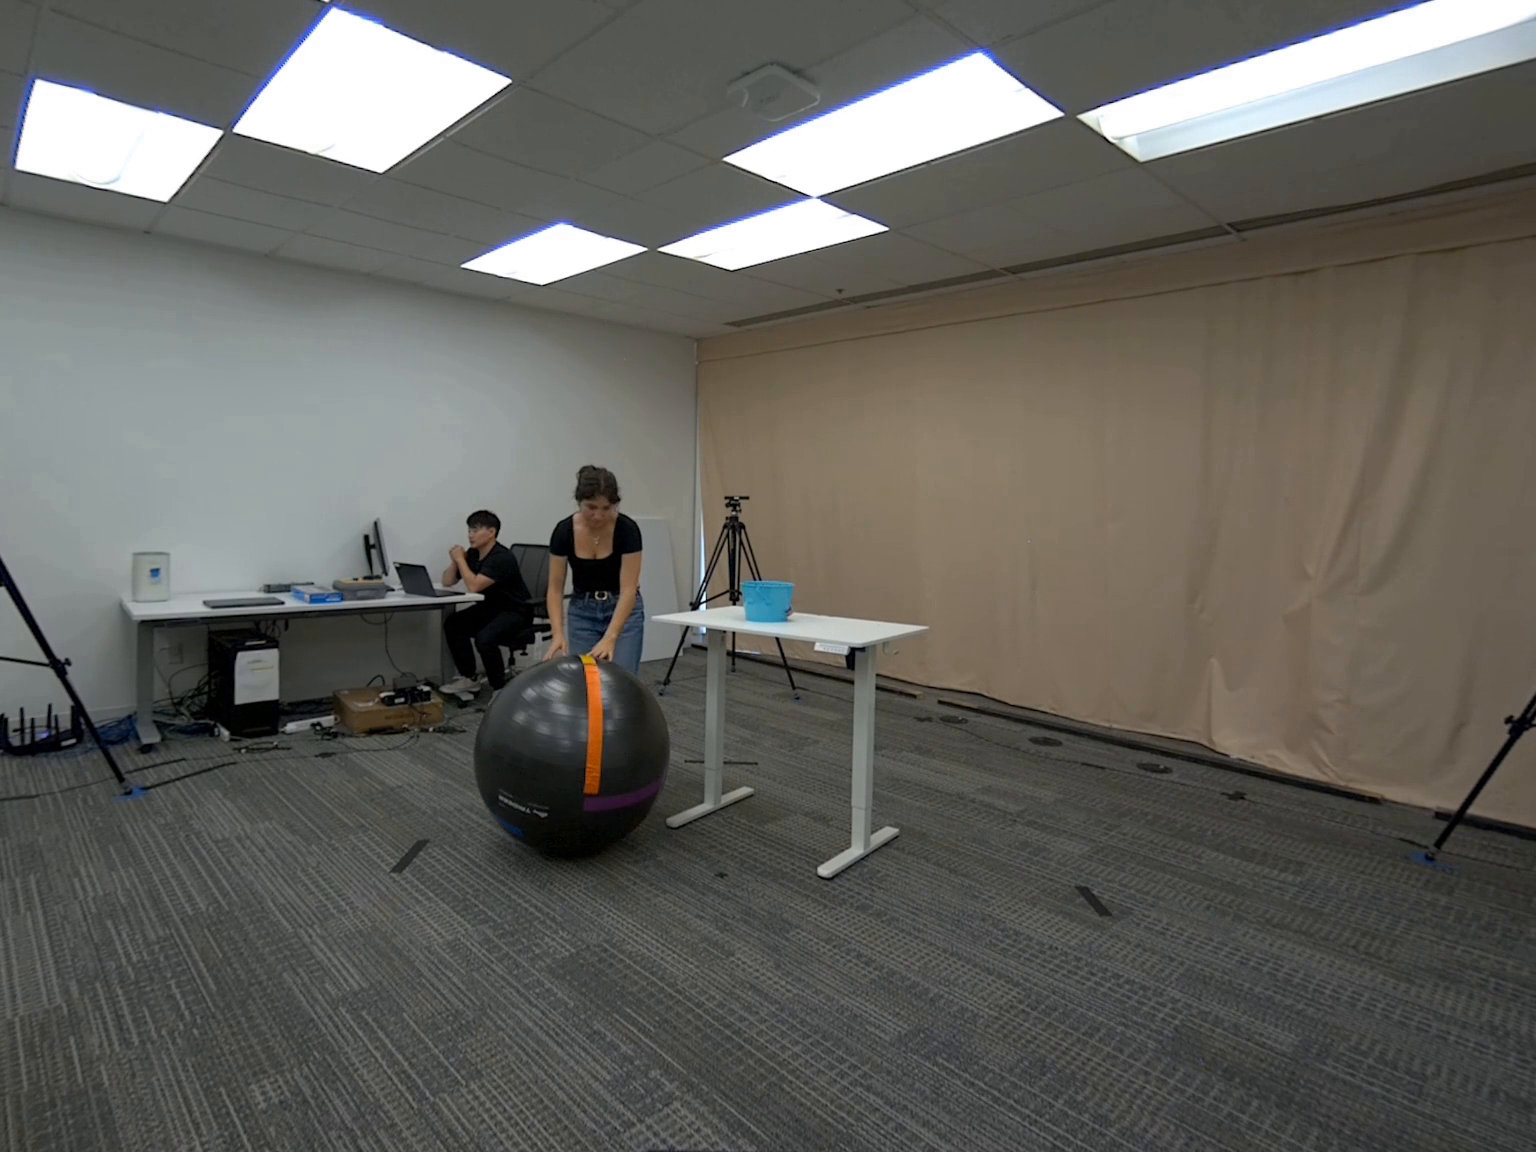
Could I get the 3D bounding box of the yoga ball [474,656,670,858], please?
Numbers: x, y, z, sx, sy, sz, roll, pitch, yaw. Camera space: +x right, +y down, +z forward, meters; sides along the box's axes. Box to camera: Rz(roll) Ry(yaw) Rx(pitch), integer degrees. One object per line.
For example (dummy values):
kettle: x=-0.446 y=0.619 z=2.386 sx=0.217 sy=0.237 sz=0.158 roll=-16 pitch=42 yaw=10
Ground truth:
yoga ball: x=-0.797 y=0.721 z=3.301 sx=0.757 sy=0.756 sz=0.761 roll=1 pitch=4 yaw=-1
